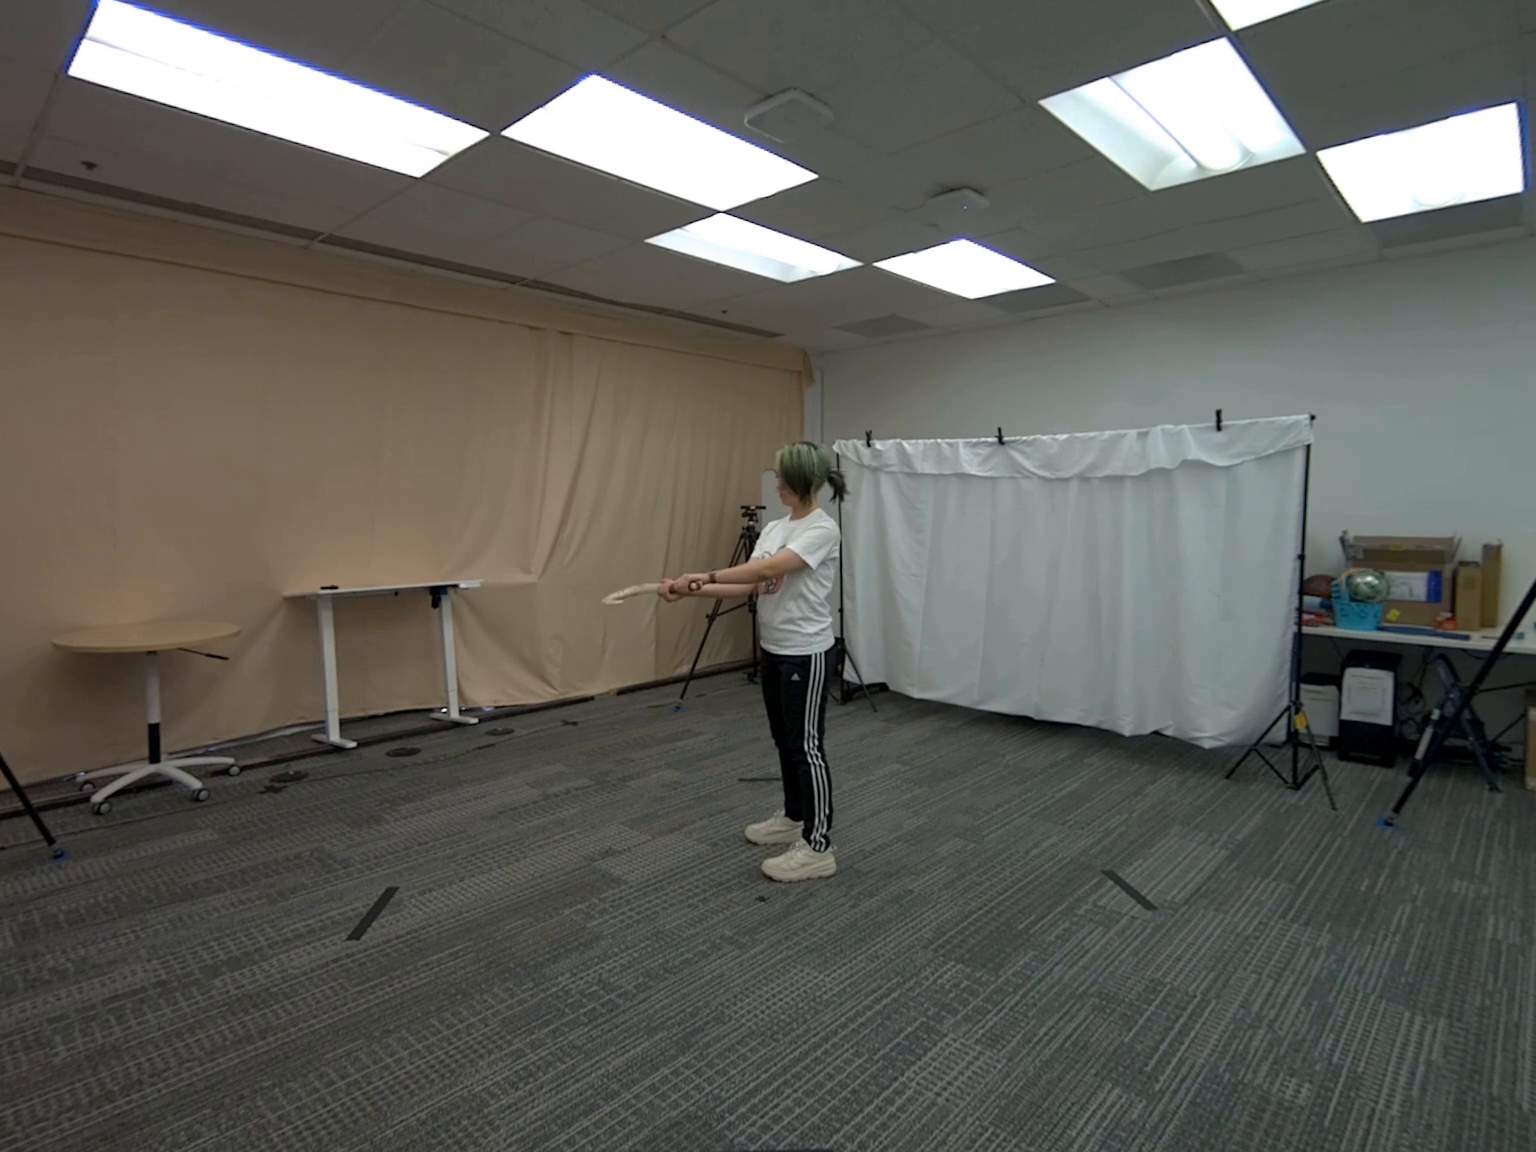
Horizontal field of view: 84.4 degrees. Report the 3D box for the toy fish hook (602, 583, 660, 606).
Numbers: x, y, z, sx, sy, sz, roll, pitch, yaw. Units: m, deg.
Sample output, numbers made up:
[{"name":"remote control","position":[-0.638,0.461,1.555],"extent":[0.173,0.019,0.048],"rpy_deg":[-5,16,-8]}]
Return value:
[{"name":"toy fish hook","position":[-0.445,0.072,3.227],"extent":[0.521,0.048,0.220],"rpy_deg":[-8,14,45]}]
